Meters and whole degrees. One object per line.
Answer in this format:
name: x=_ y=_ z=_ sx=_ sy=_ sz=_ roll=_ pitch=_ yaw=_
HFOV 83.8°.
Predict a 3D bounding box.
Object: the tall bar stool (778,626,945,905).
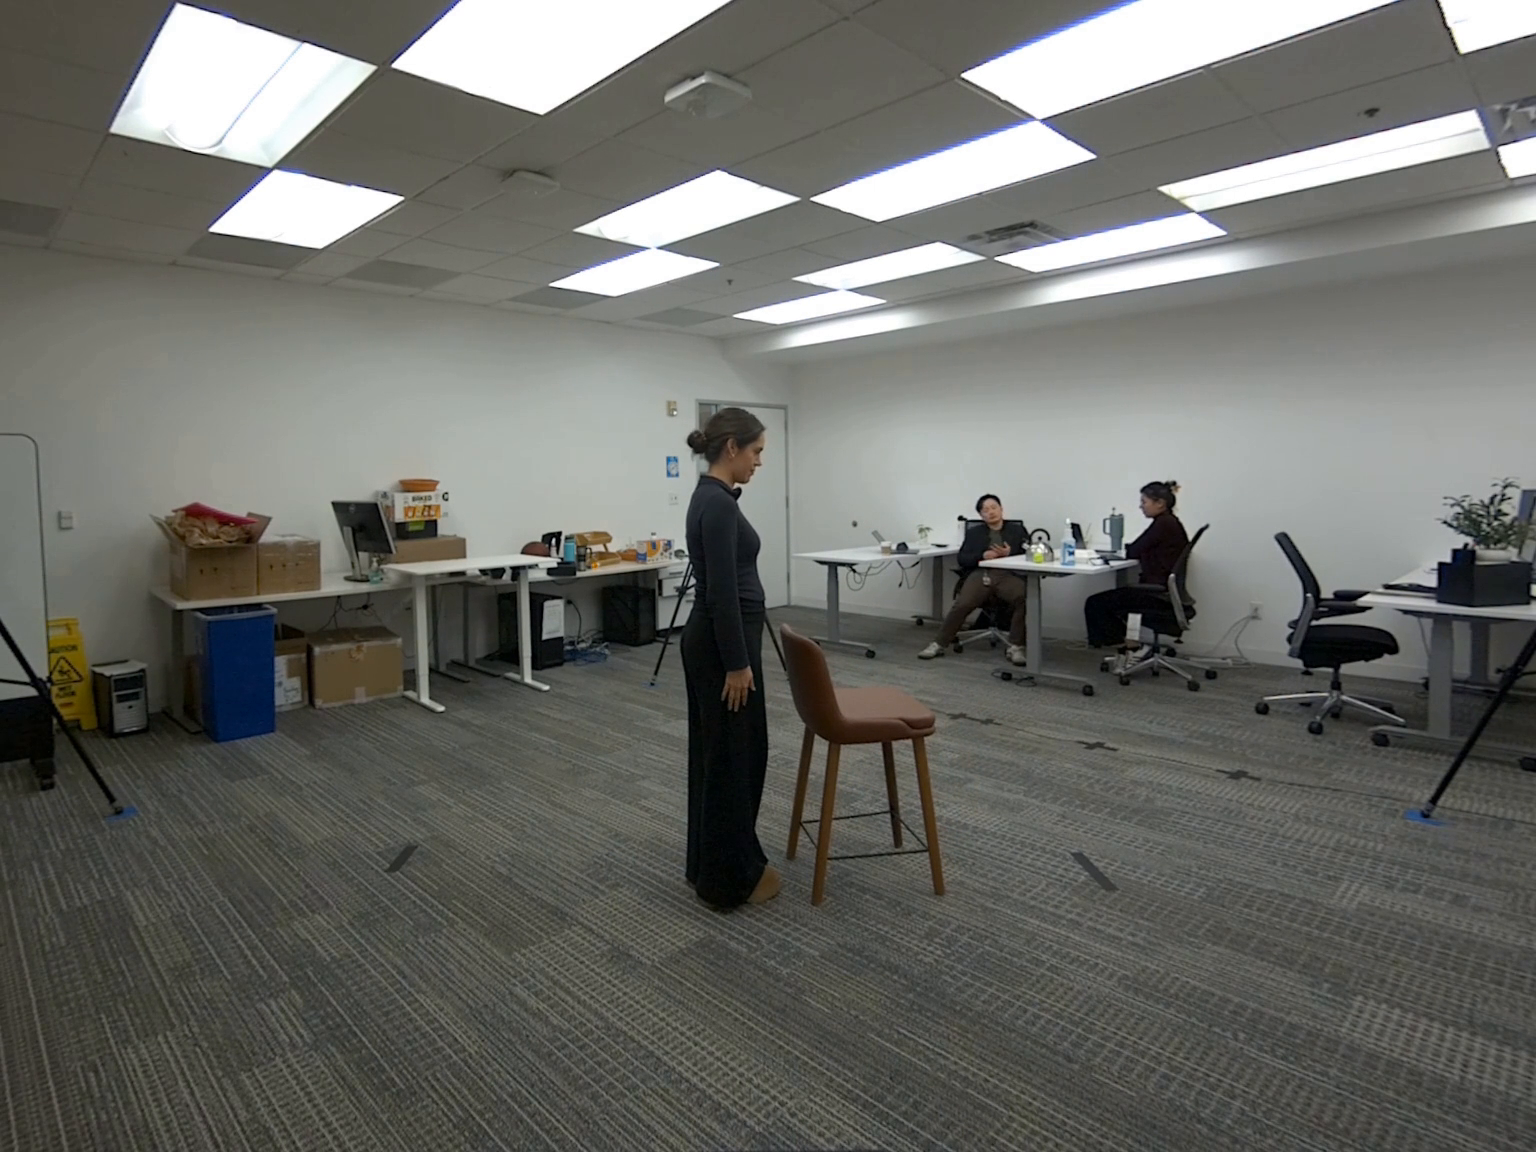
tall bar stool: x=0.312 y=0.615 z=2.981 sx=0.463 sy=0.886 sz=0.463 roll=-4 pitch=5 yaw=-12
